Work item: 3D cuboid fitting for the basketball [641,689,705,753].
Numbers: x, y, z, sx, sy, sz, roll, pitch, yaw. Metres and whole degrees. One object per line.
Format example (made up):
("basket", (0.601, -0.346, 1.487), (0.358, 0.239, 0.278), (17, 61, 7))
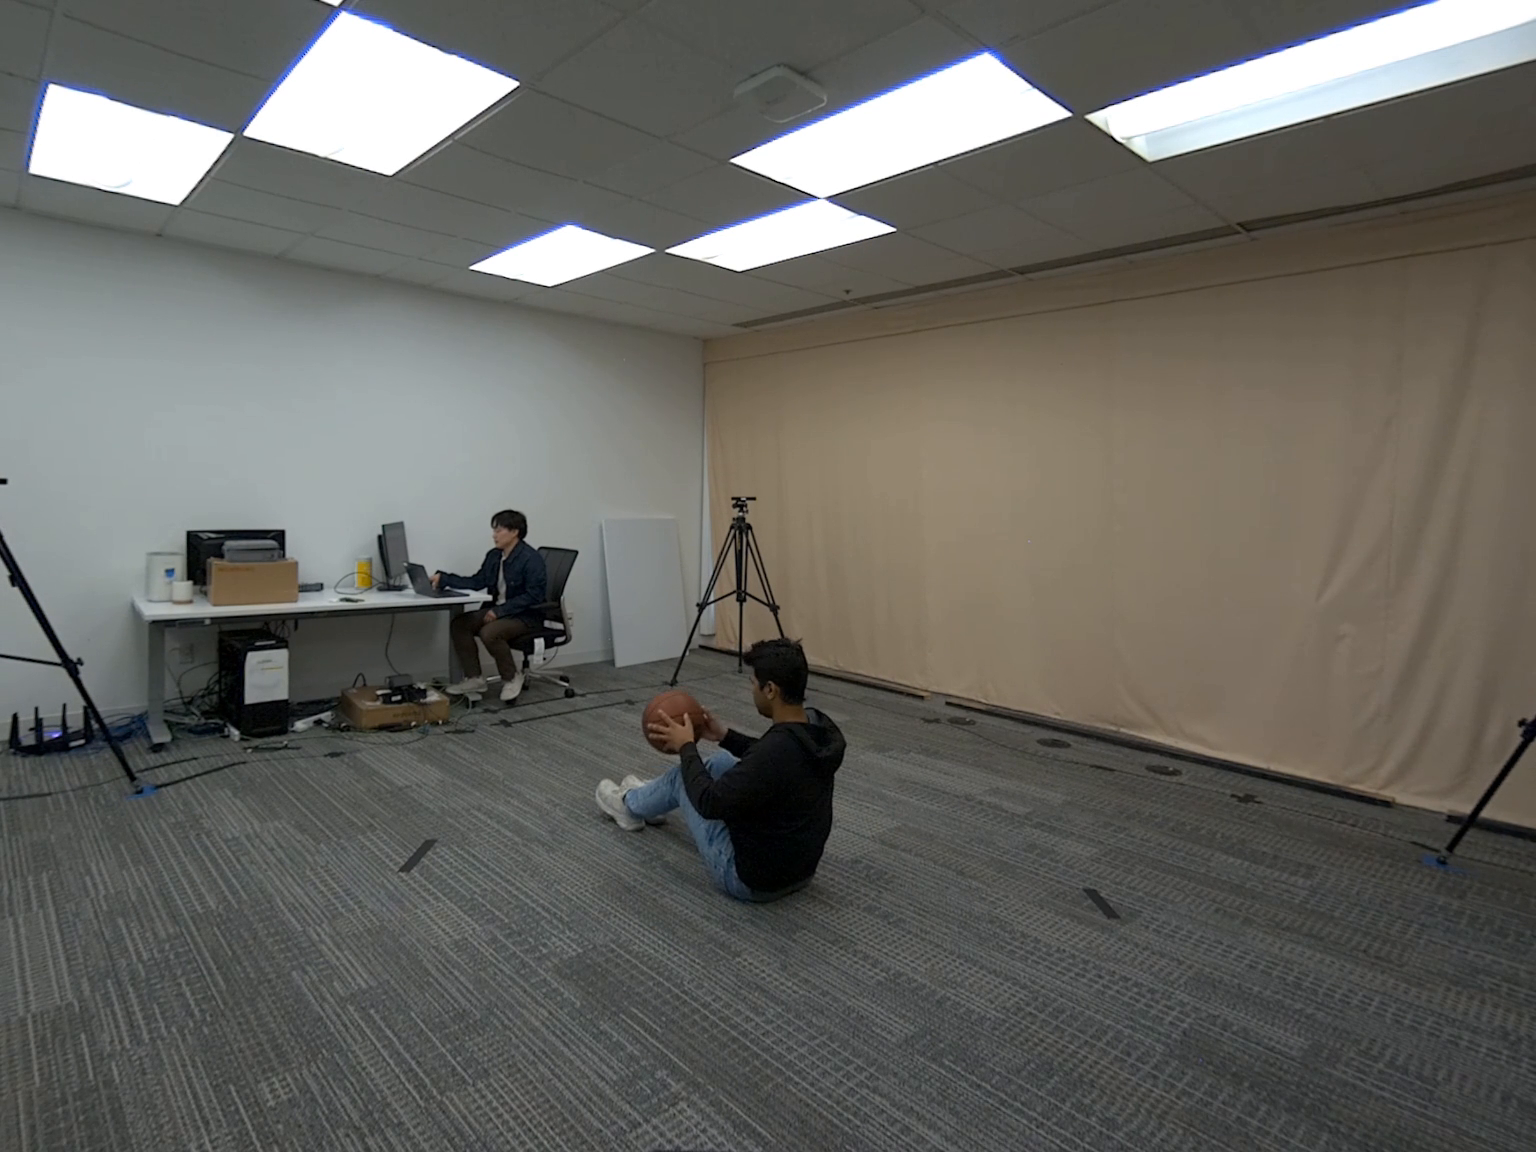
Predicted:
("basketball", (-0.344, 0.570, 3.192), (0.236, 0.235, 0.237), (1, 4, -1))
